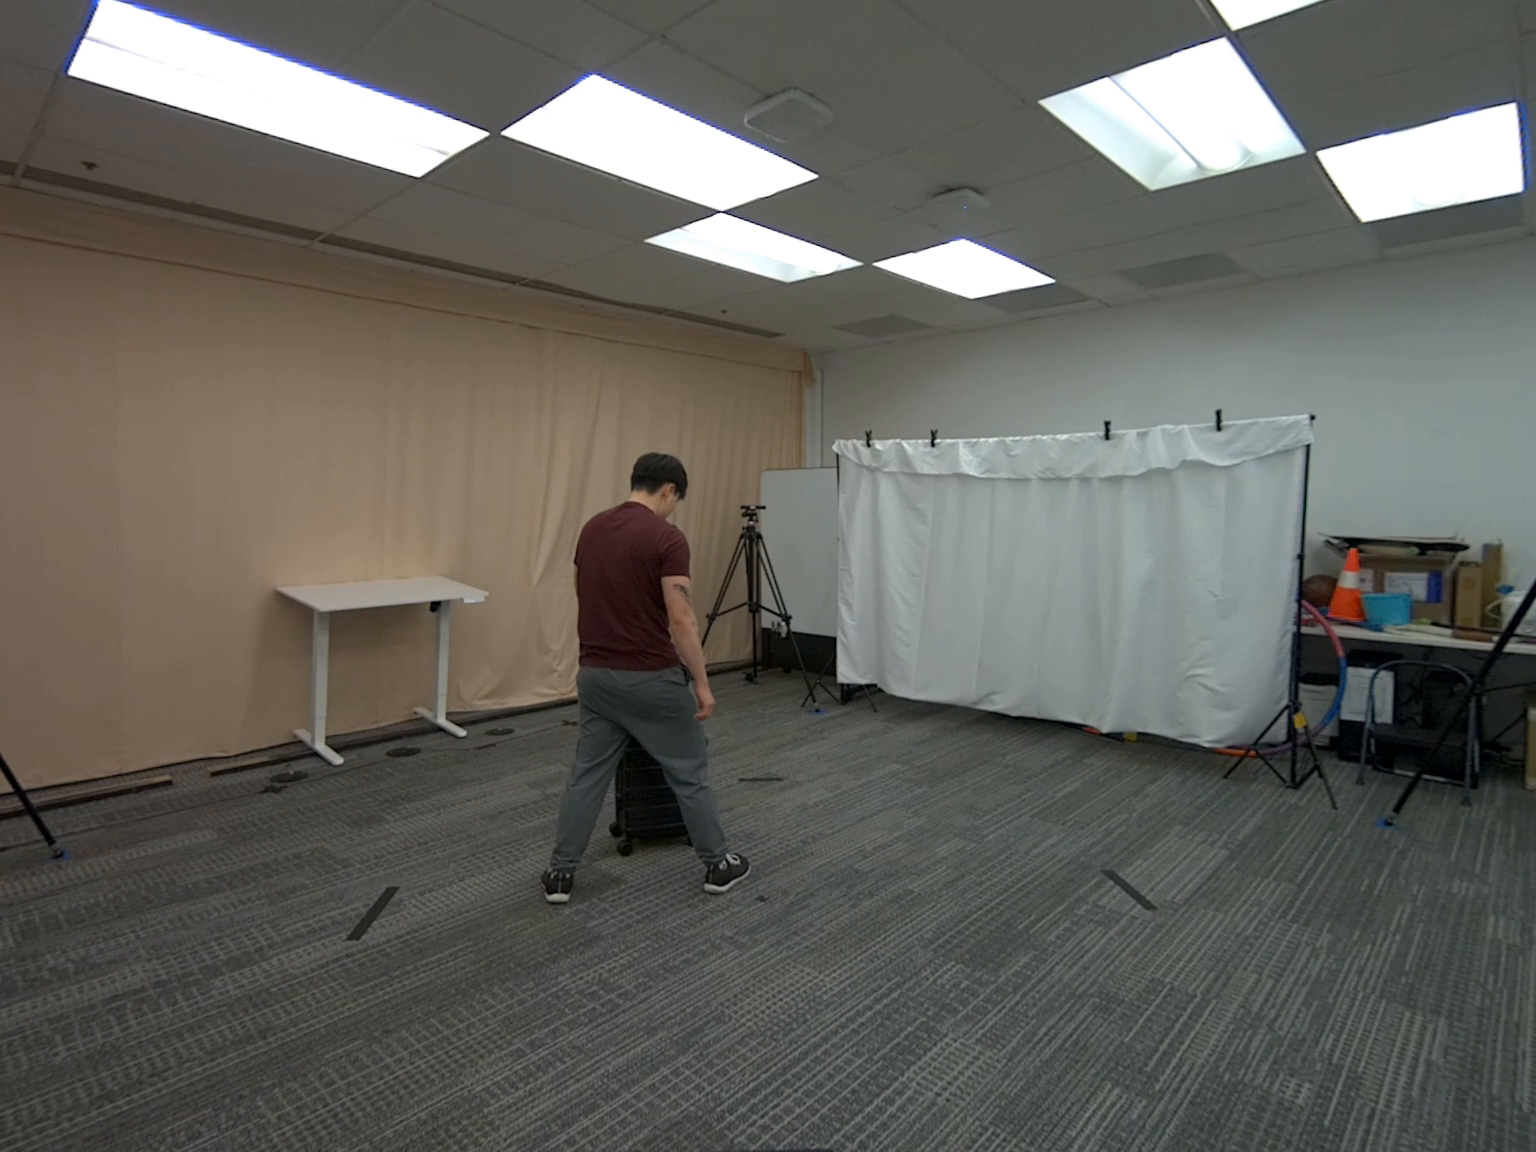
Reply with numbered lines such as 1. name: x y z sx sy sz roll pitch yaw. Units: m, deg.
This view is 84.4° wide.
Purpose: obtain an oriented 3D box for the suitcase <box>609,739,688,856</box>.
1. suitcase: -0.460 0.625 3.511 0.378 0.978 0.261 0 1 -16
